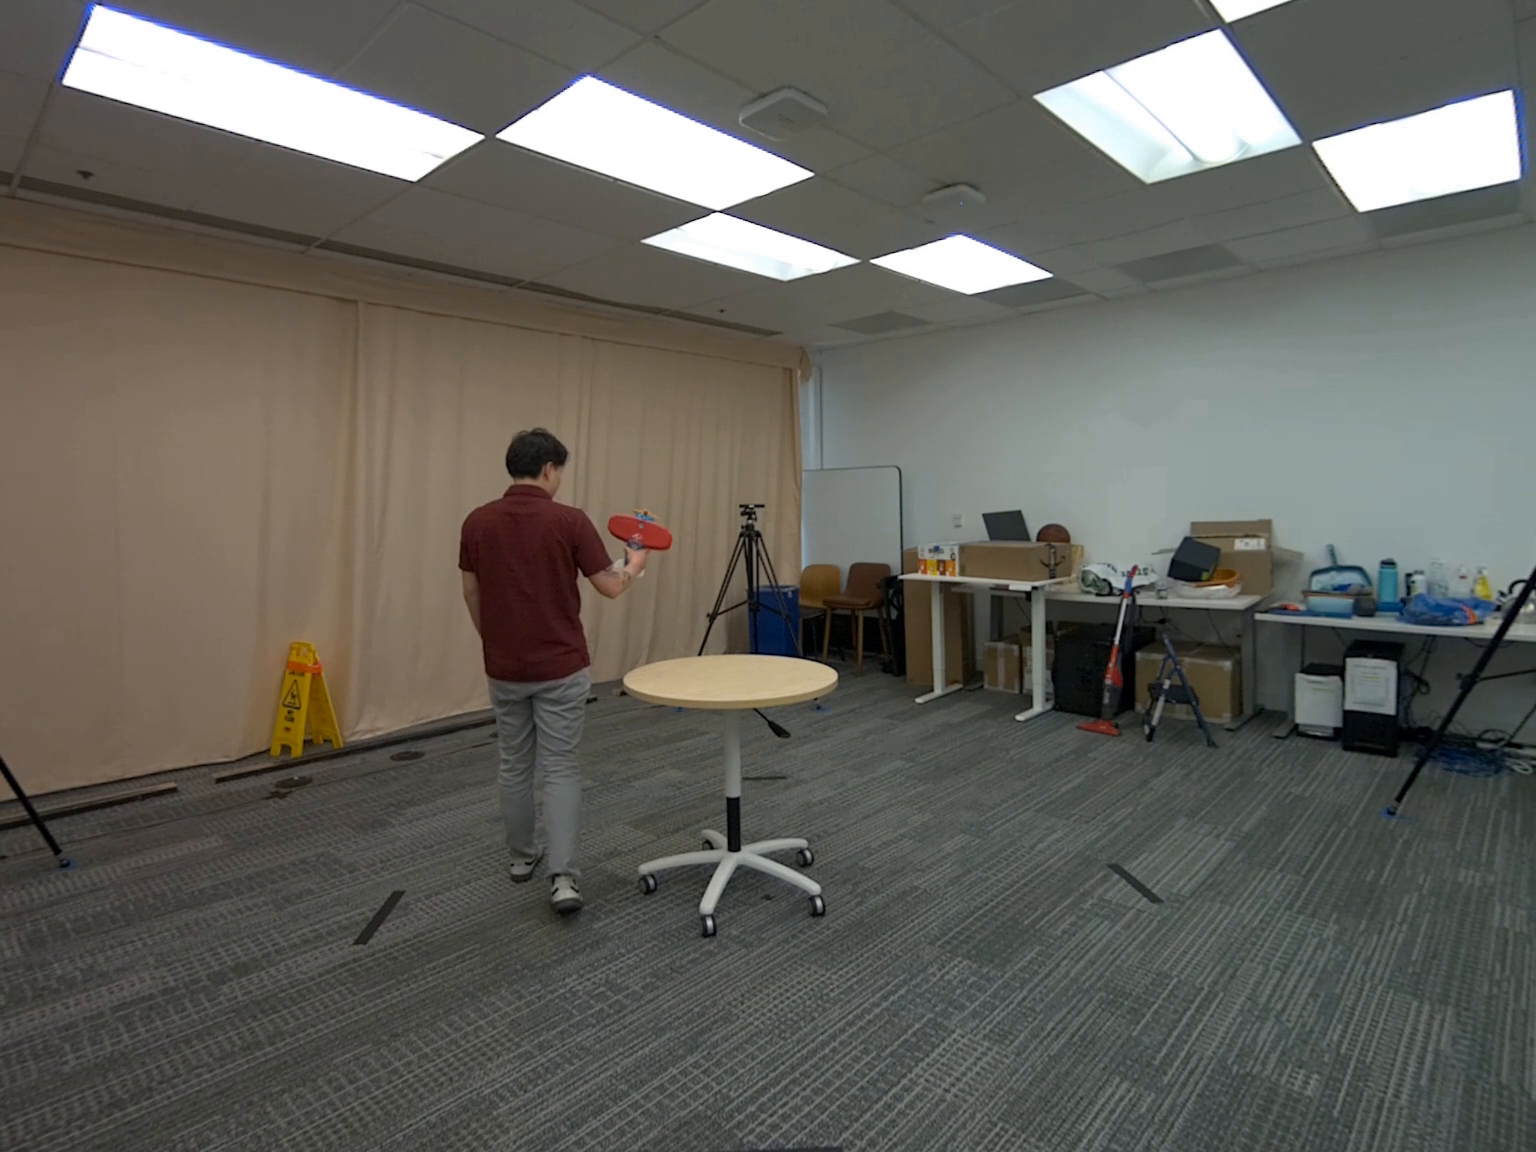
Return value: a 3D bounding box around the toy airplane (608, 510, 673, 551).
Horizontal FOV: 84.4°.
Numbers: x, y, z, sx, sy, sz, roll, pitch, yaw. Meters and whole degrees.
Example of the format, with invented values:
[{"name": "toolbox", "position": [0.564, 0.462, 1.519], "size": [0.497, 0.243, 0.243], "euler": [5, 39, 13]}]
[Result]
[{"name": "toy airplane", "position": [-0.503, -0.127, 3.358], "size": [0.248, 0.264, 0.155], "euler": [-10, -21, -11]}]
